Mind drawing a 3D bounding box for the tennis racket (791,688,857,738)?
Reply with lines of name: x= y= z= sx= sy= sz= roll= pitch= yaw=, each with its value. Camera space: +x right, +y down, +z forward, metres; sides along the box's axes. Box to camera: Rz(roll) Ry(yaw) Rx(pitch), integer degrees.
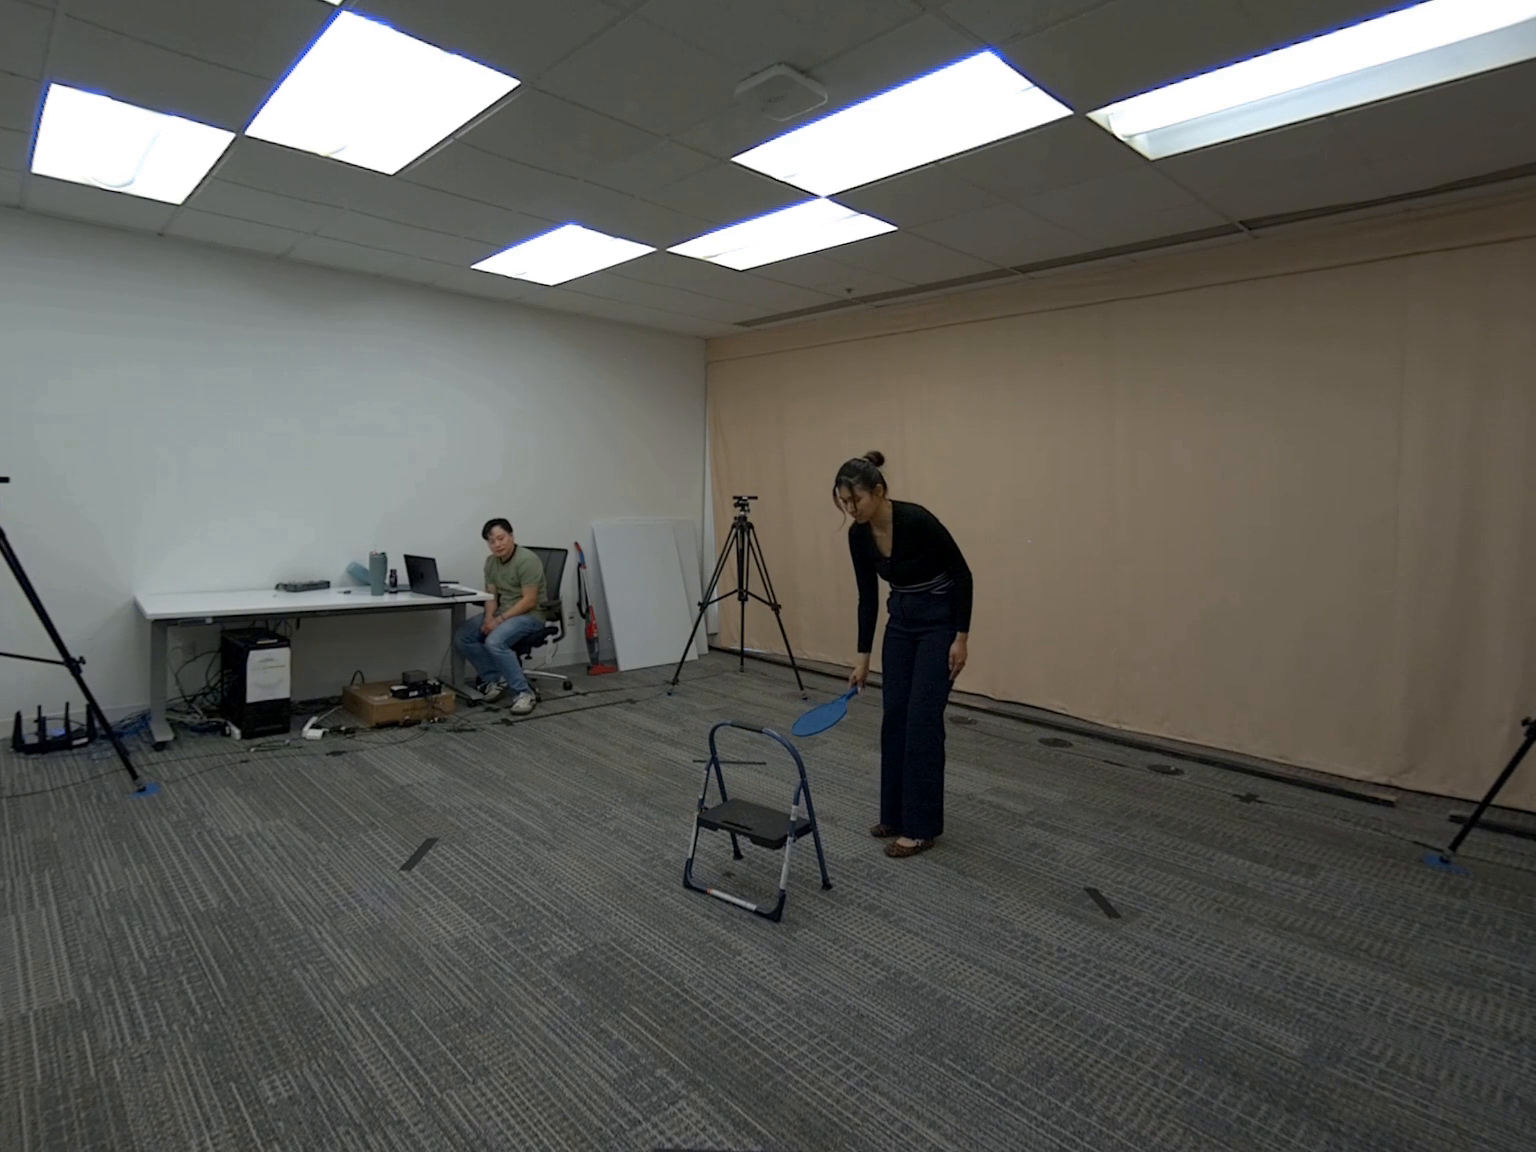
tennis racket: x=0.244 y=0.547 z=3.451 sx=0.218 sy=0.031 sz=0.429 roll=-7 pitch=19 yaw=46
